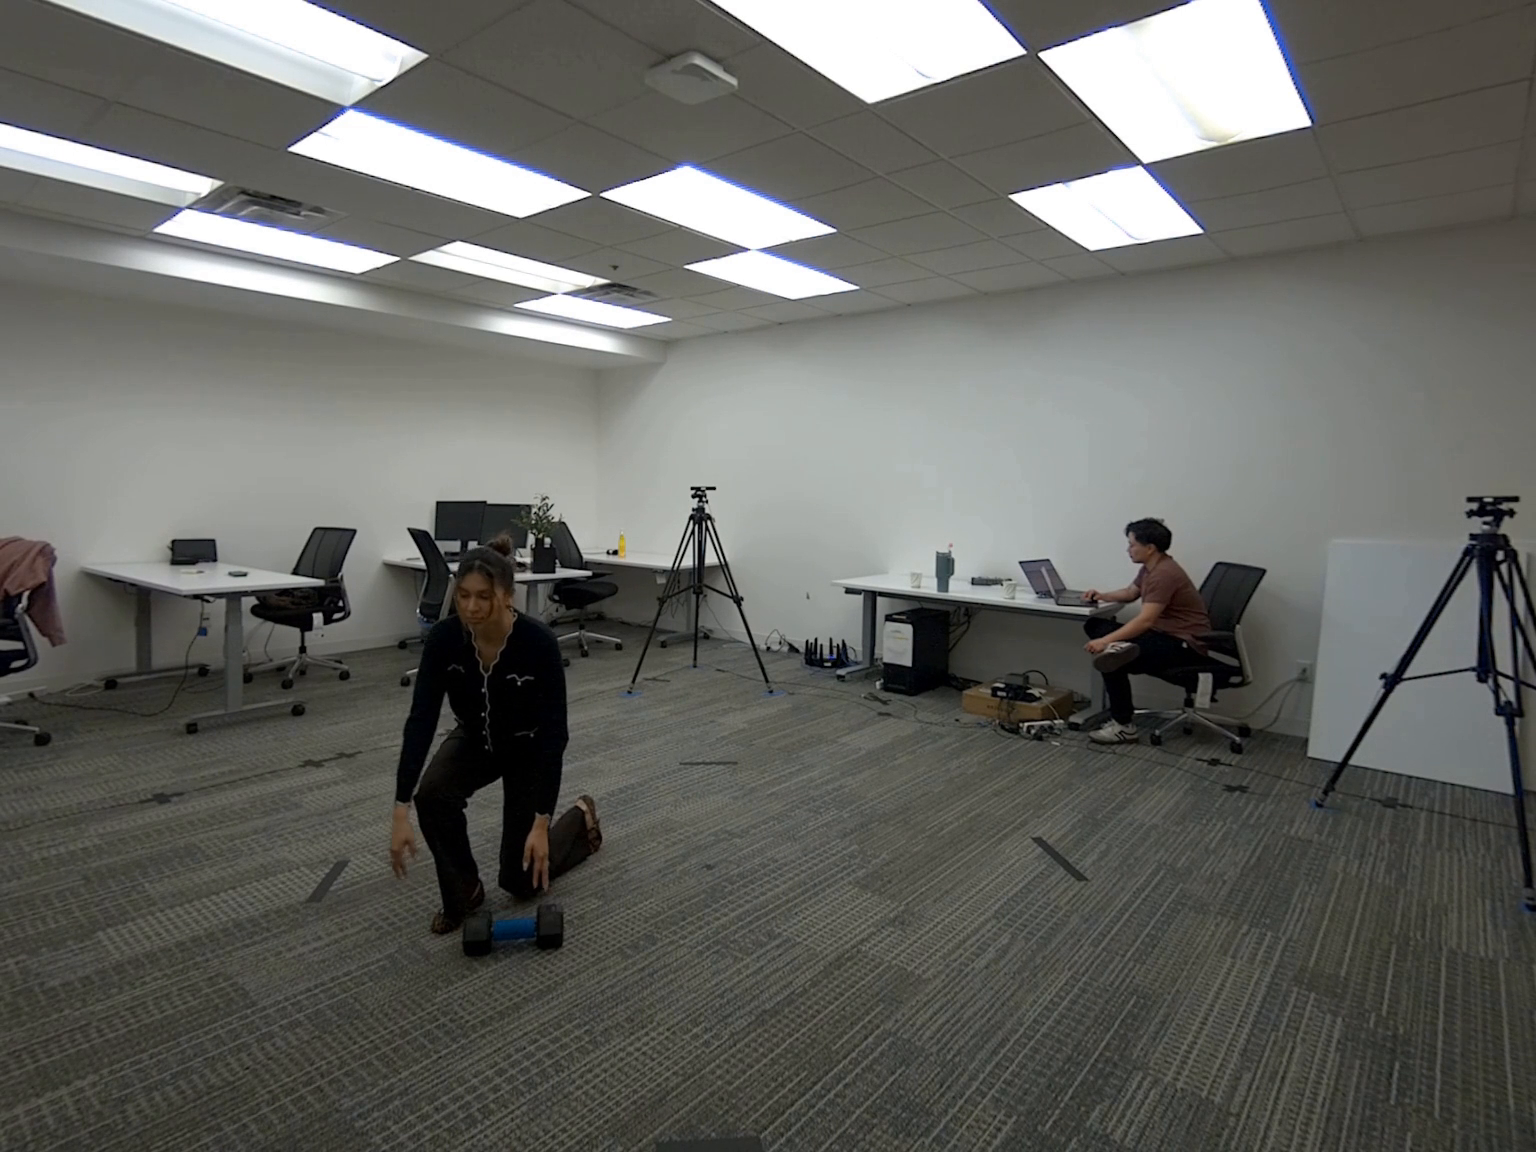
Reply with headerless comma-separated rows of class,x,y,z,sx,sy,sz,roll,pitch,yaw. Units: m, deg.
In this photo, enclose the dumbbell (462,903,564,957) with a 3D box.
dumbbell,-0.771,1.061,2.548,0.290,0.120,0.112,0,31,-10
